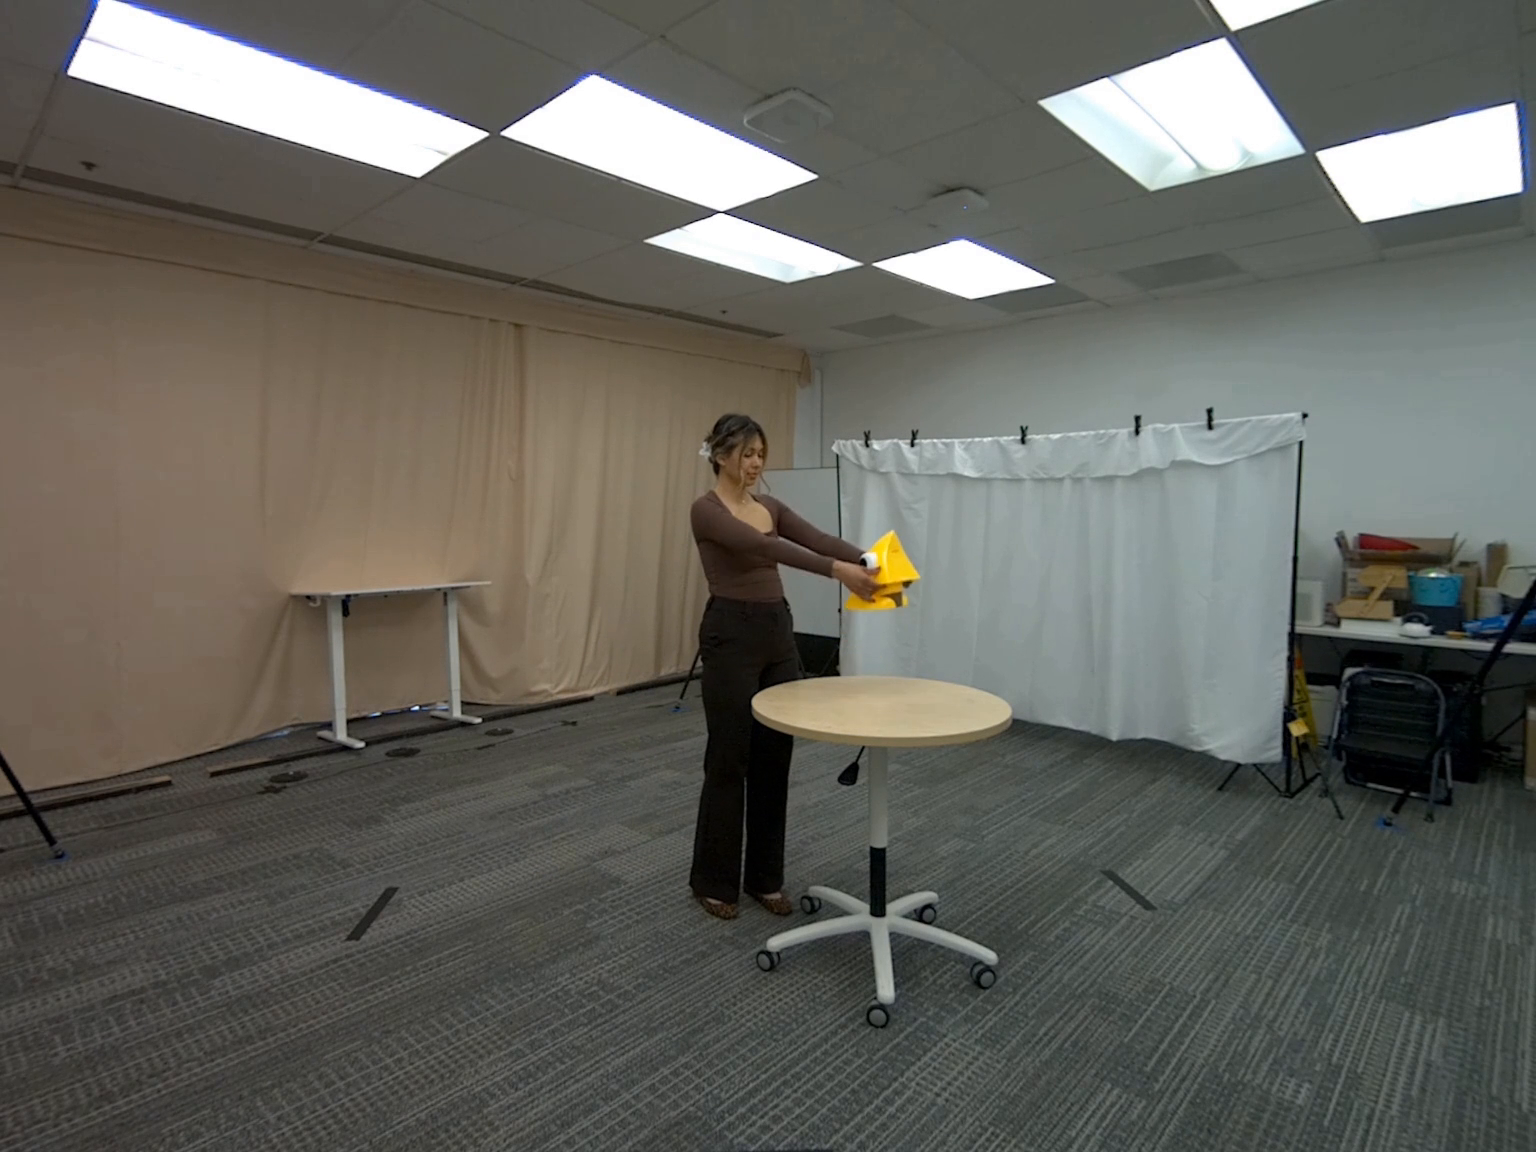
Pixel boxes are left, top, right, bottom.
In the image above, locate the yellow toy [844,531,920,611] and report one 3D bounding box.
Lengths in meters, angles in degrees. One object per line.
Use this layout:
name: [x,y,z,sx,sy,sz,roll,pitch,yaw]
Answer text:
yellow toy: [0.336,-0.020,2.571,0.199,0.230,0.199,-3,1,38]
